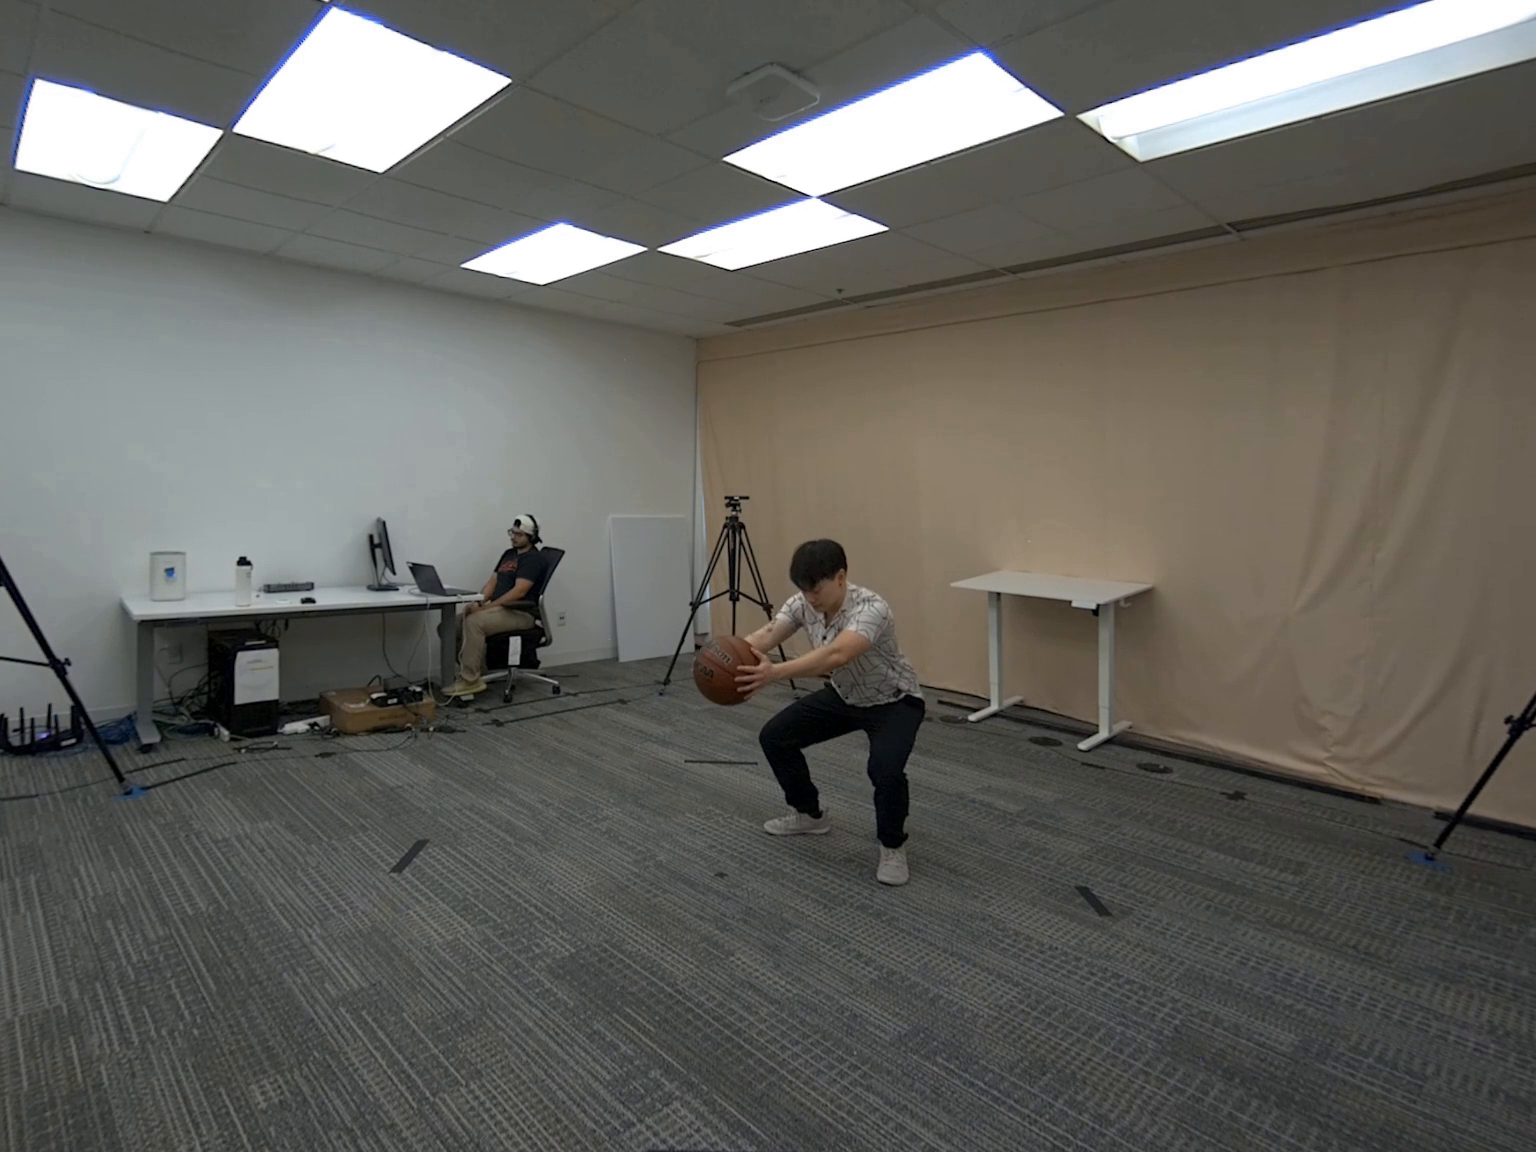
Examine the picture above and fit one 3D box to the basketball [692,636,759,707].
[{"bbox_3d":[-0.149,0.325,2.870,0.236,0.235,0.237,1,4,-1],"label":"basketball"}]
